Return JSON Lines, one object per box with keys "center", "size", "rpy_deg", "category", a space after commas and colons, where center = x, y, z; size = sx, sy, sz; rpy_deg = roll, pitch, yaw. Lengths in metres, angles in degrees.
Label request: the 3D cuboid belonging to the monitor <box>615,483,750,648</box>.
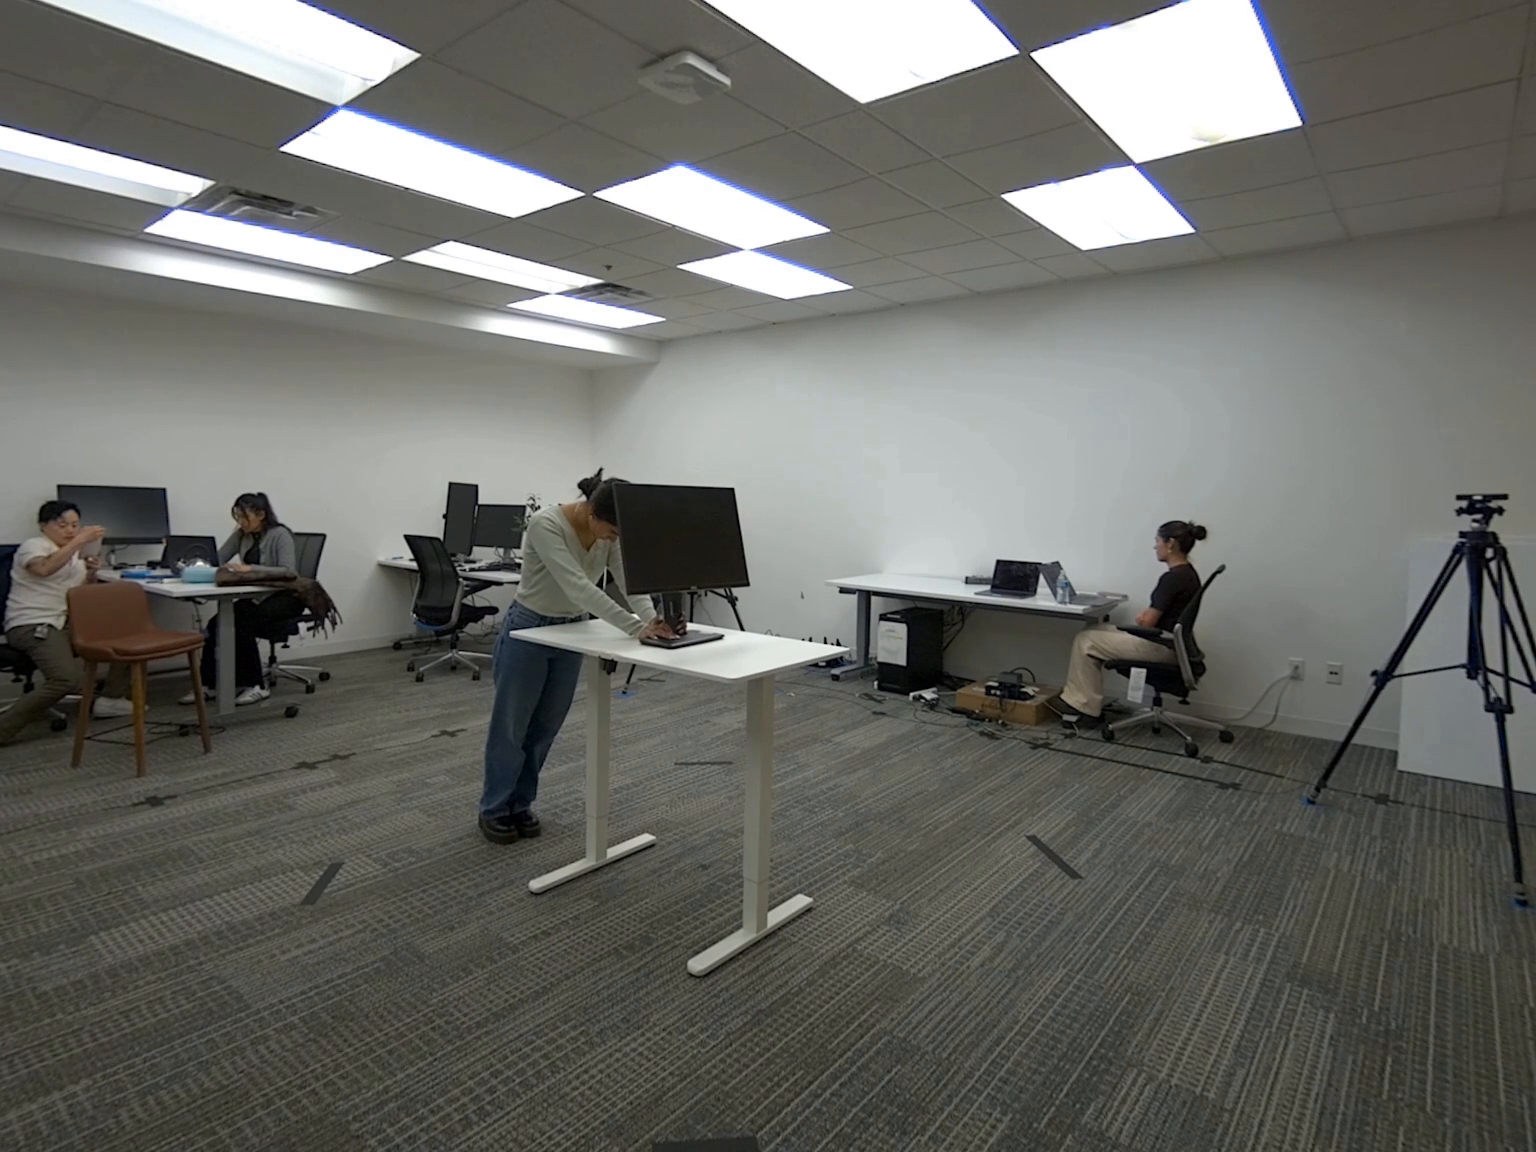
{"center": [-0.303, -0.040, 2.808], "size": [0.193, 0.522, 0.523], "rpy_deg": [2, 3, 41], "category": "monitor"}
